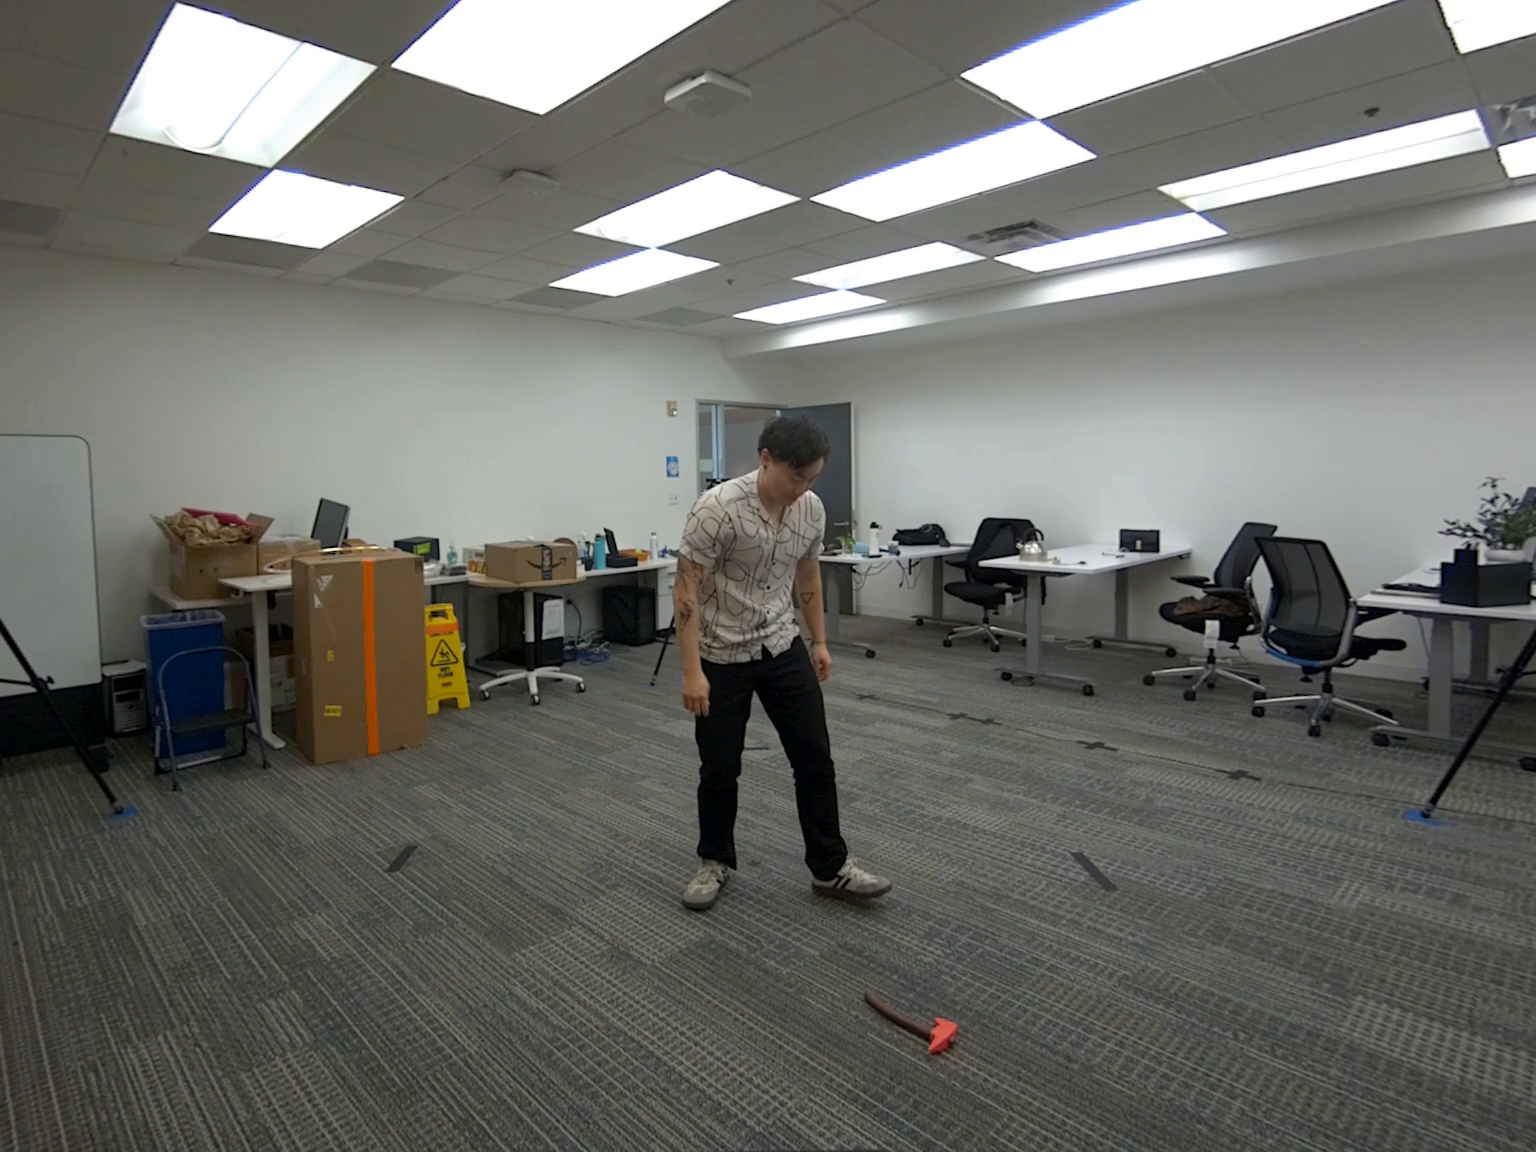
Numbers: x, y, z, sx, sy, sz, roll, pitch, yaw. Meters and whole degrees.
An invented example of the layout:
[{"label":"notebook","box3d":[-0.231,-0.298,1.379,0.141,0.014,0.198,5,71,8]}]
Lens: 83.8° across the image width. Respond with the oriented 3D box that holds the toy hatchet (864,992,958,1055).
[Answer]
[{"label":"toy hatchet","box3d":[0.386,1.131,2.190,0.128,0.029,0.277,-5,6,-30]}]
